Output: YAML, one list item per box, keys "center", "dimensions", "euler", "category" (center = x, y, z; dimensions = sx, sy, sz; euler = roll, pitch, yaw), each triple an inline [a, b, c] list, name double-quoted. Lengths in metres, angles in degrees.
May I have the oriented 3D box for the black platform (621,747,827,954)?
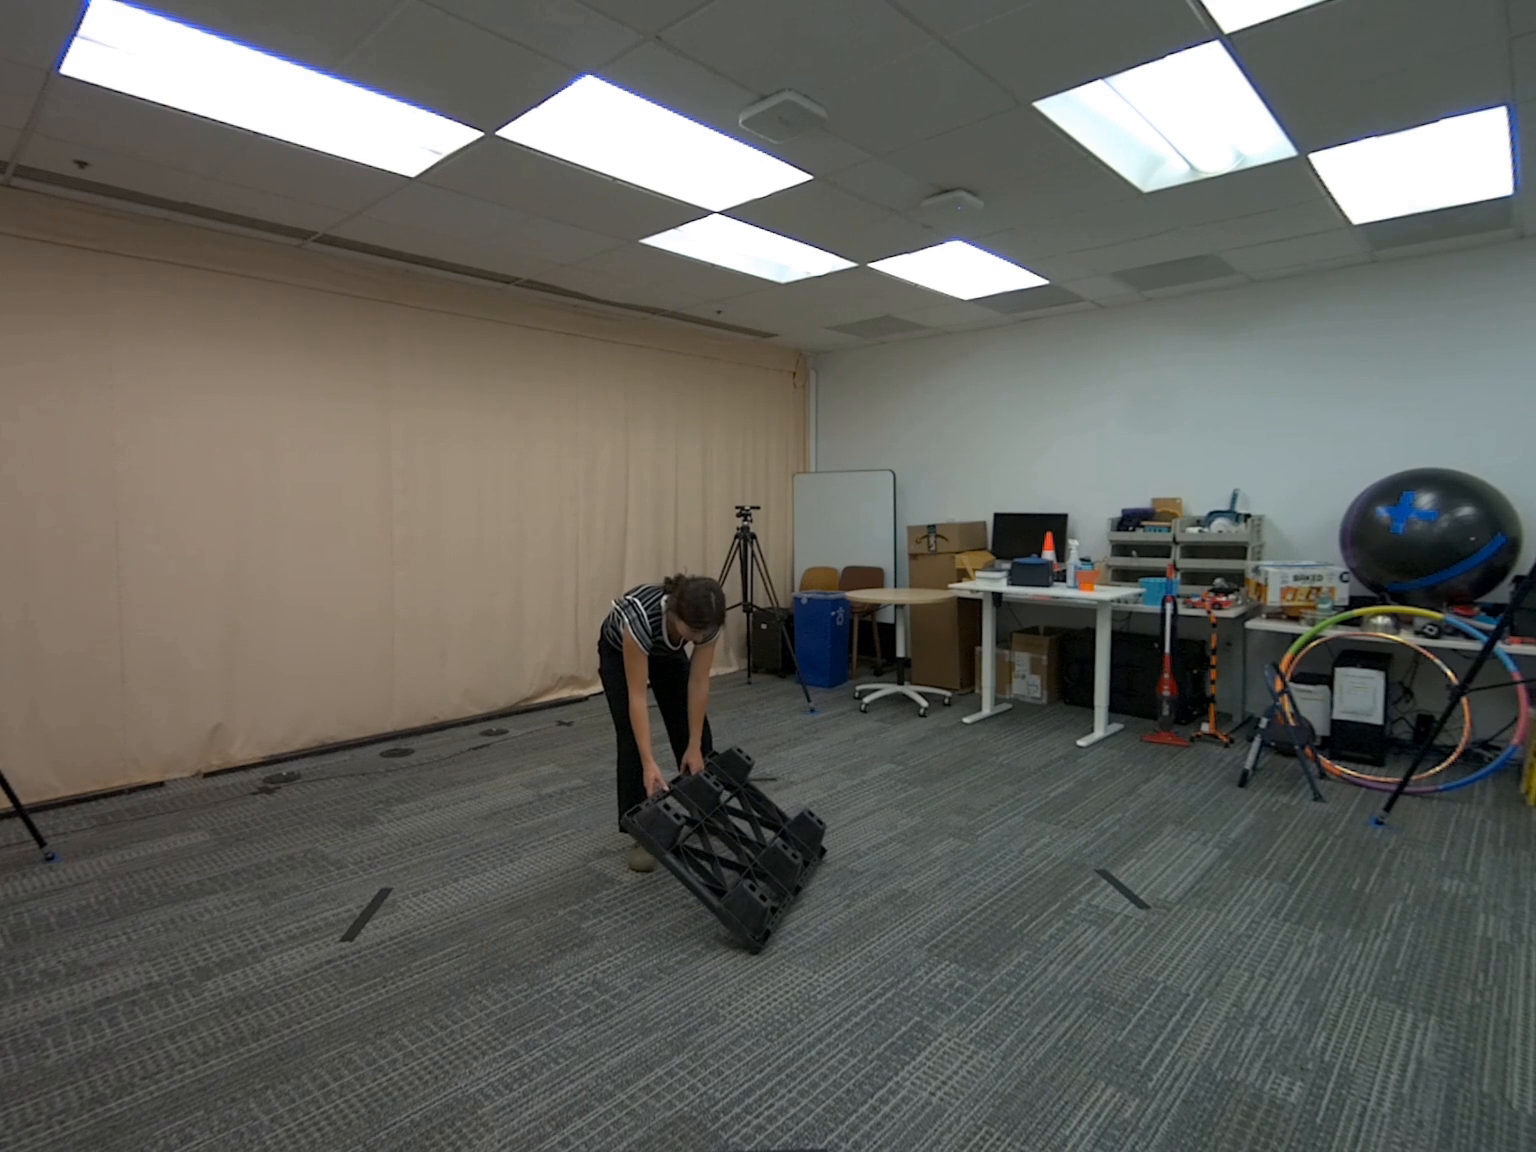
- center: [-0.102, 0.913, 3.037]
  dimensions: [0.616, 0.143, 0.790]
  euler: [38, 15, 13]
  category: "black platform"
